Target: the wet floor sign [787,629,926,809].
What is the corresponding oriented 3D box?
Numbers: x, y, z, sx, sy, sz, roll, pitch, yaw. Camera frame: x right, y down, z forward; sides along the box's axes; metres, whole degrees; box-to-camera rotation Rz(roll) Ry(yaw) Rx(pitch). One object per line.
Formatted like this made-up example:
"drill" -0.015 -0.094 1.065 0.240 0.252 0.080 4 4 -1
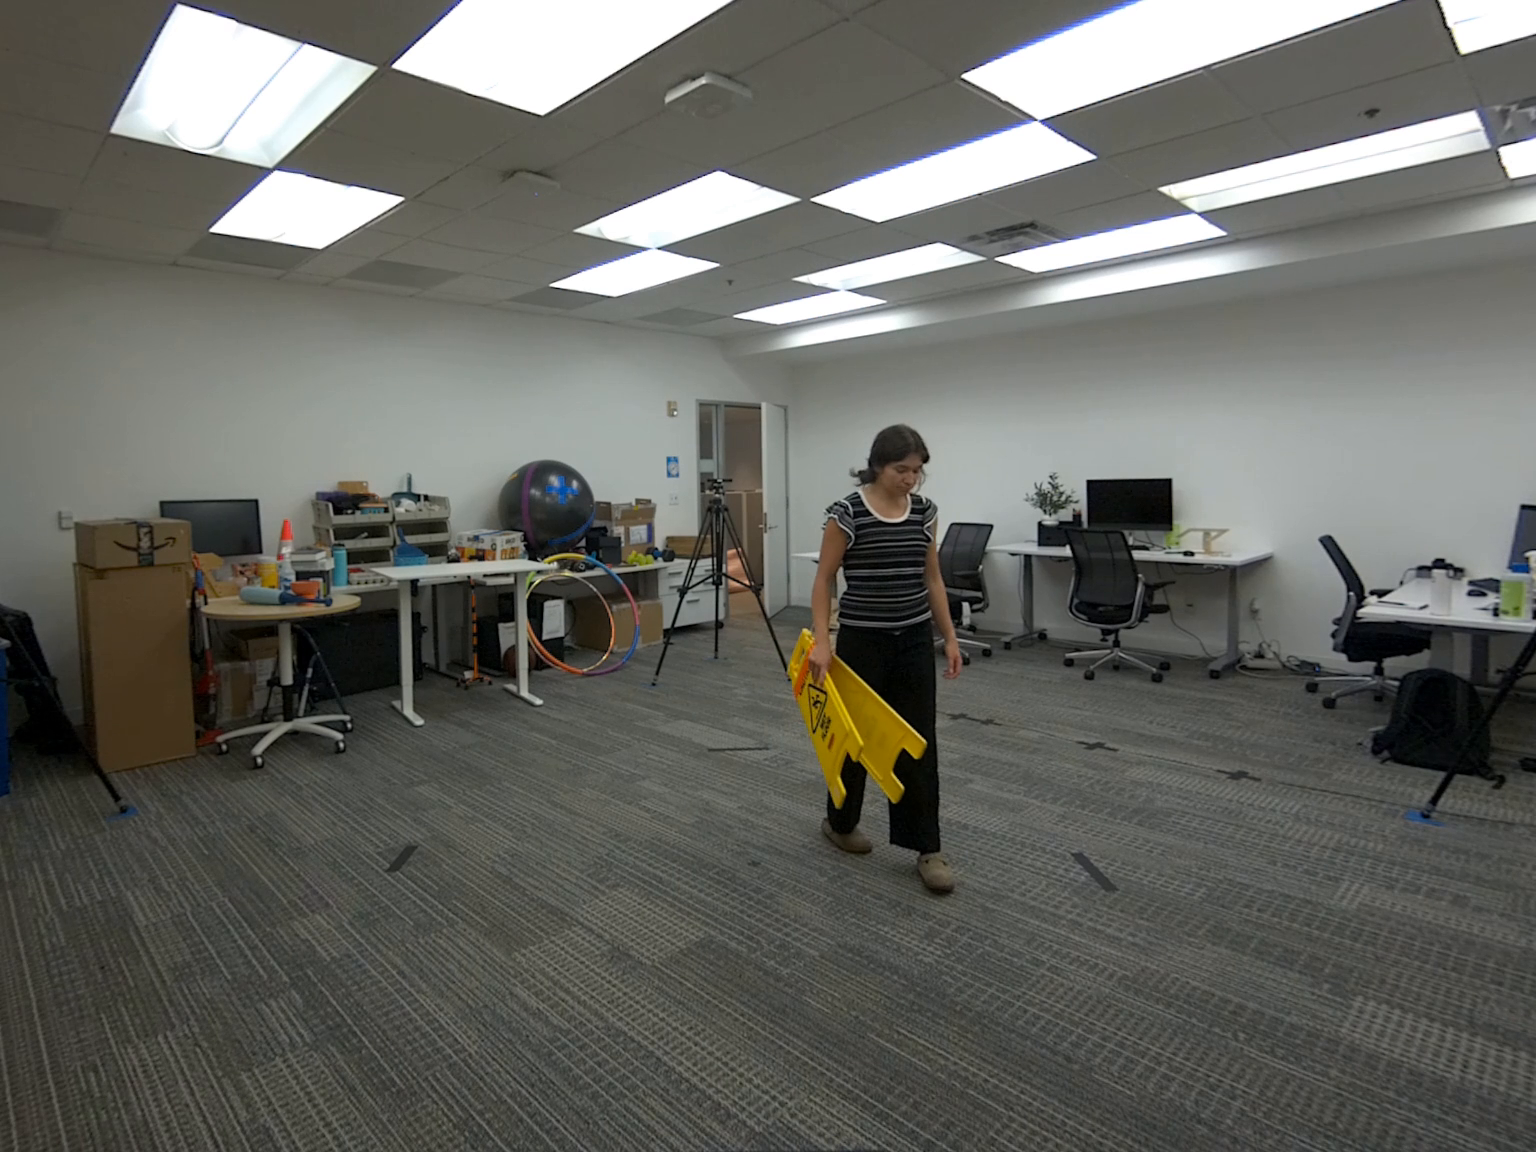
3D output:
"wet floor sign" 0.237 0.451 2.961 0.283 0.278 0.671 1 32 -28
